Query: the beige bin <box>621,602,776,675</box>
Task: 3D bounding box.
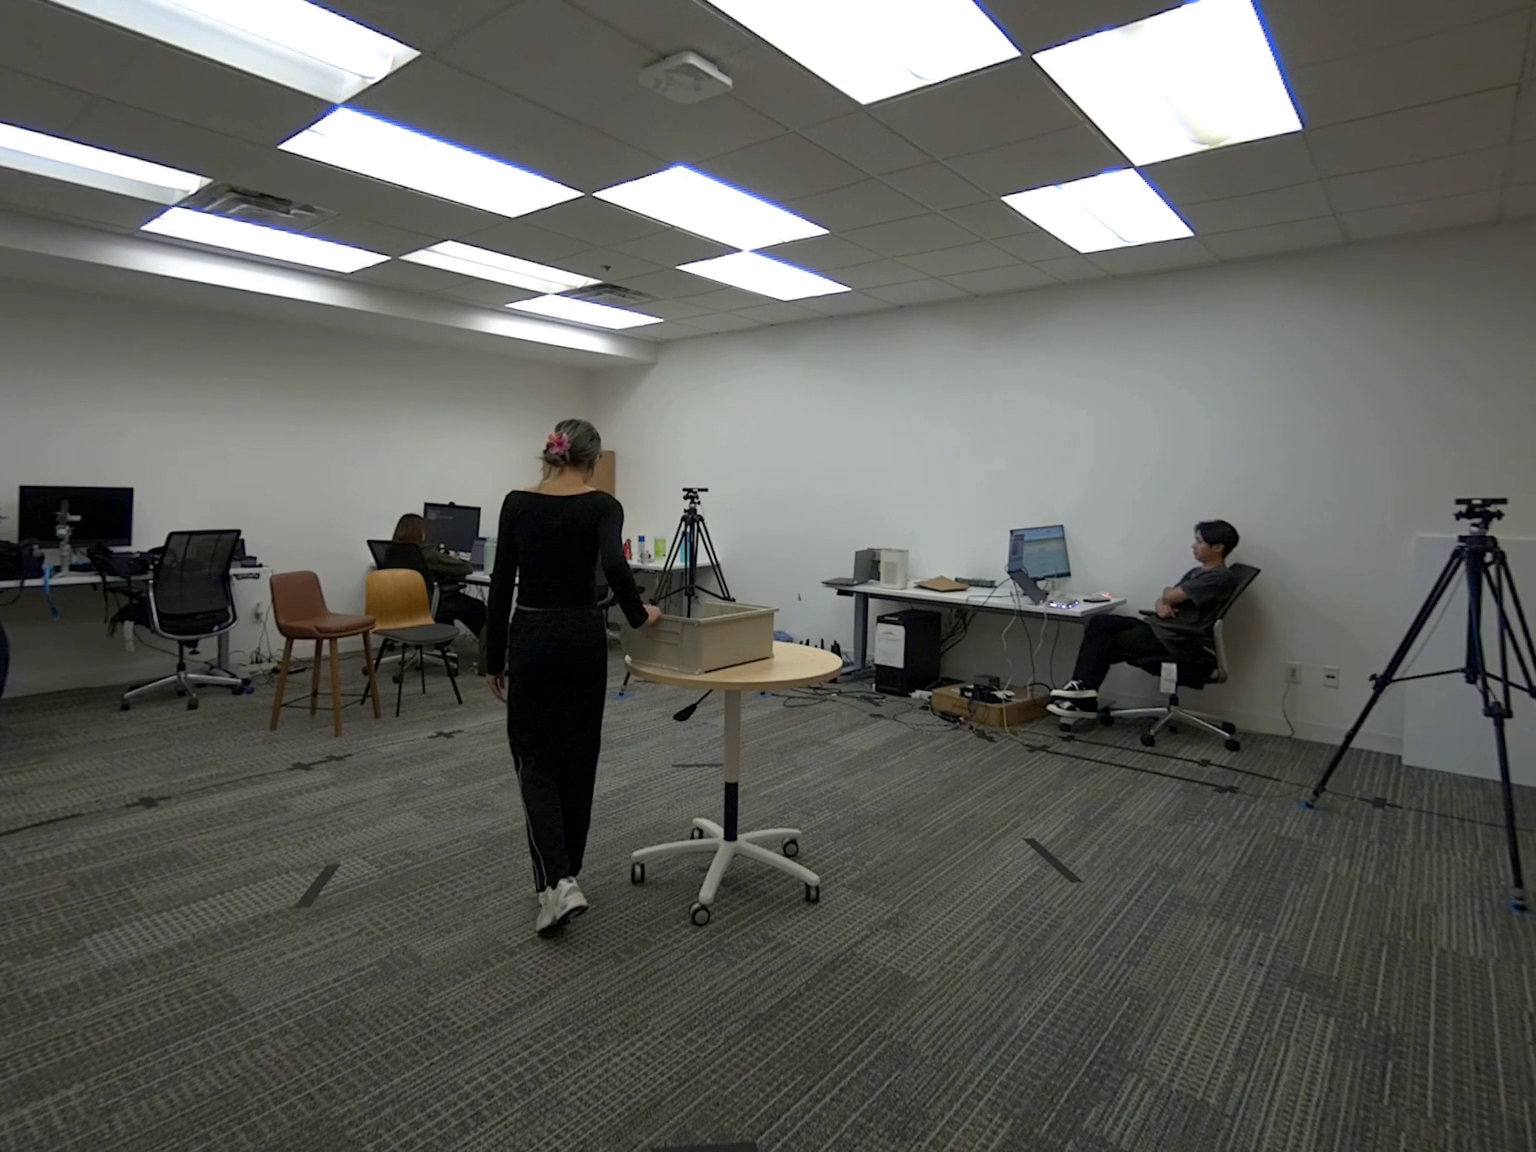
[{"bbox_3d":[-0.250,0.199,2.981,0.390,0.188,0.410,7,7,38],"label":"beige bin"}]
